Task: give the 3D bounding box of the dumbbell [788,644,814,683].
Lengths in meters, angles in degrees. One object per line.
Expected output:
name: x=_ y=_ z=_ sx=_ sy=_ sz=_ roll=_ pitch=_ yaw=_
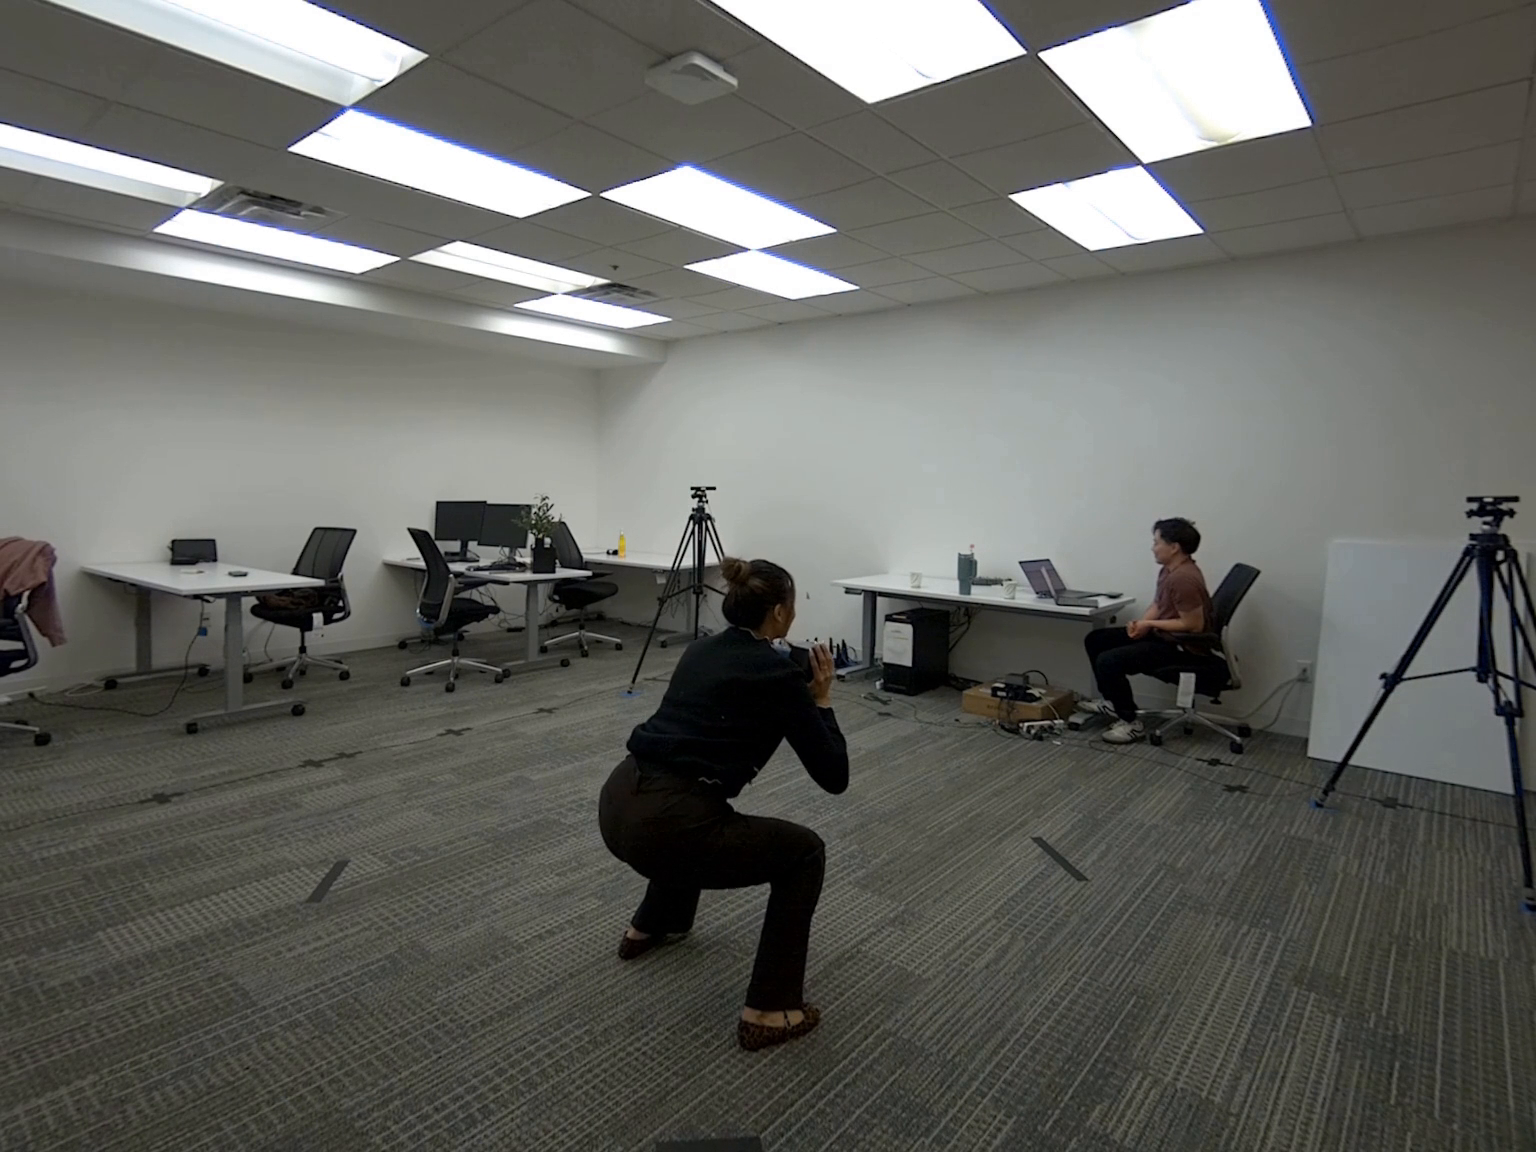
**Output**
dumbbell: x=0.031 y=0.236 z=2.484 sx=0.304 sy=0.119 sz=0.109 roll=6 pitch=45 yaw=46
